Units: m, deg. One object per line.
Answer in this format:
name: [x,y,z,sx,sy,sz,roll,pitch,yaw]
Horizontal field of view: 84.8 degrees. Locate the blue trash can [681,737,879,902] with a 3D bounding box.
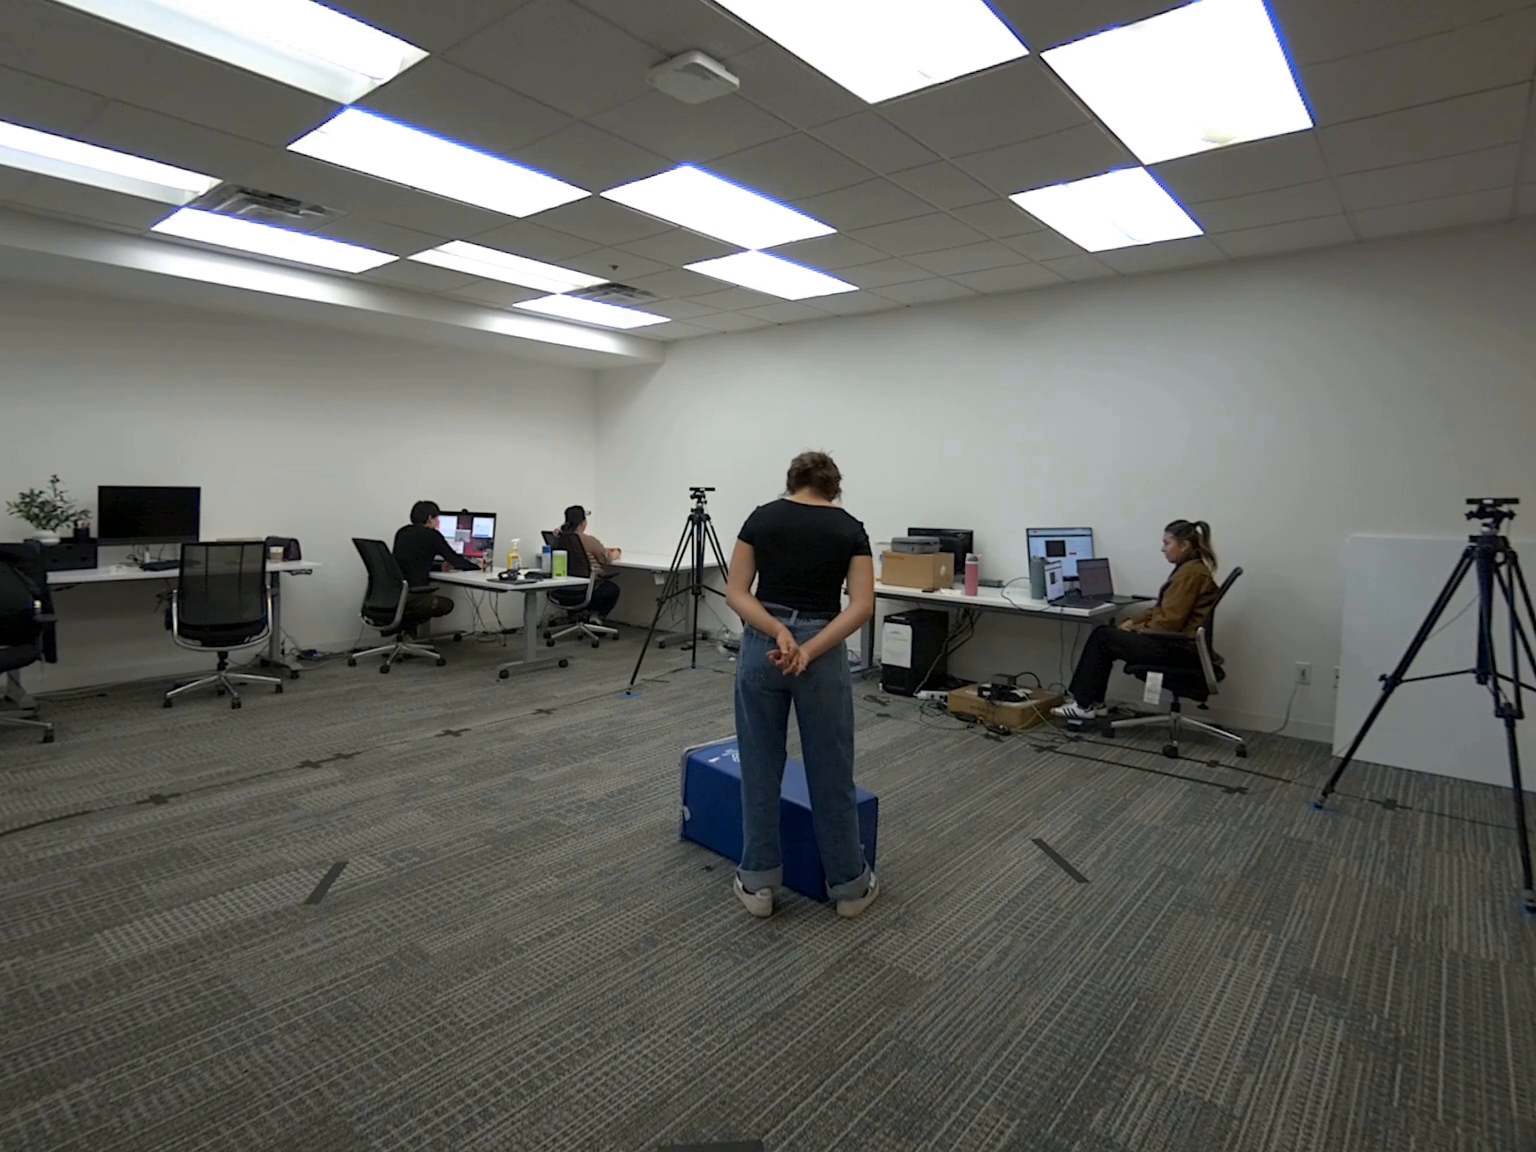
blue trash can: [0.019,0.893,3.207,0.739,0.376,0.363,10,9,44]
